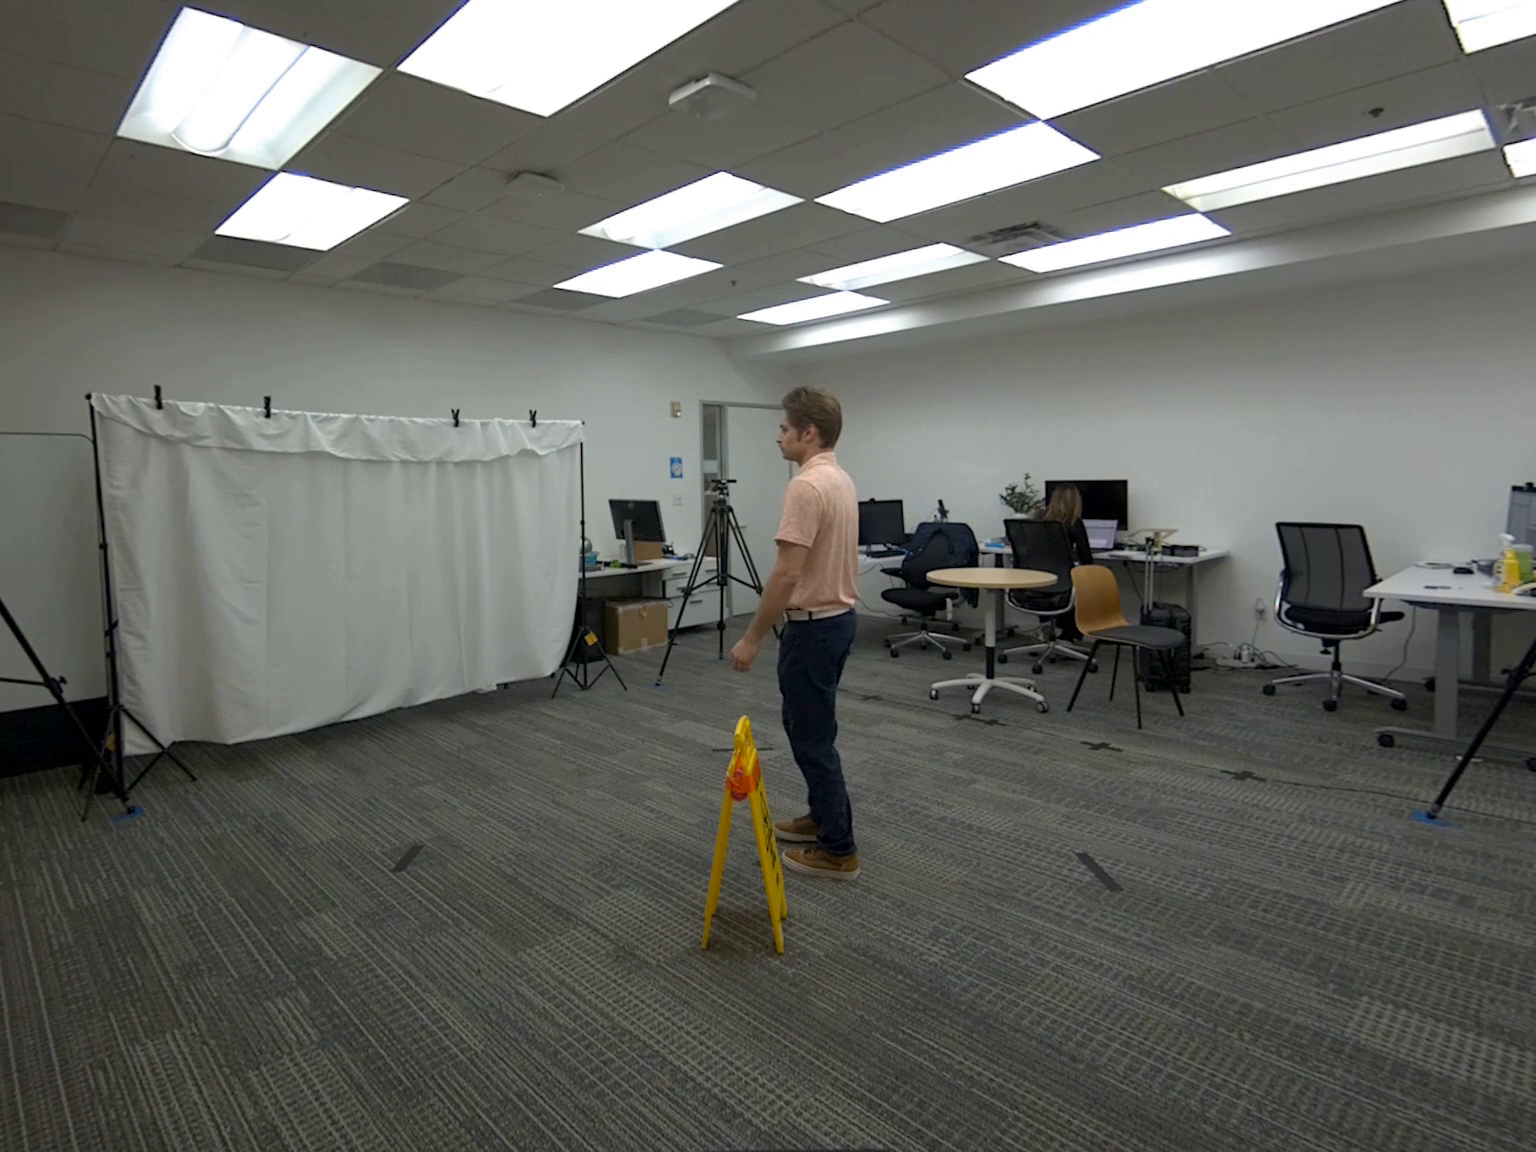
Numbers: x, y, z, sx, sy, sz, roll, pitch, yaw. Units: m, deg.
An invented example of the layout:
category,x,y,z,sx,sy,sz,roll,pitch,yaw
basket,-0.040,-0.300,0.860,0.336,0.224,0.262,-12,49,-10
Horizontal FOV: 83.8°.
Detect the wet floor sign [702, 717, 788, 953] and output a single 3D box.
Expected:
category,x,y,z,sx,sy,sz,roll,pitch,yaw
wet floor sign,-0.076,0.776,2.641,0.291,0.644,0.281,-1,3,5
